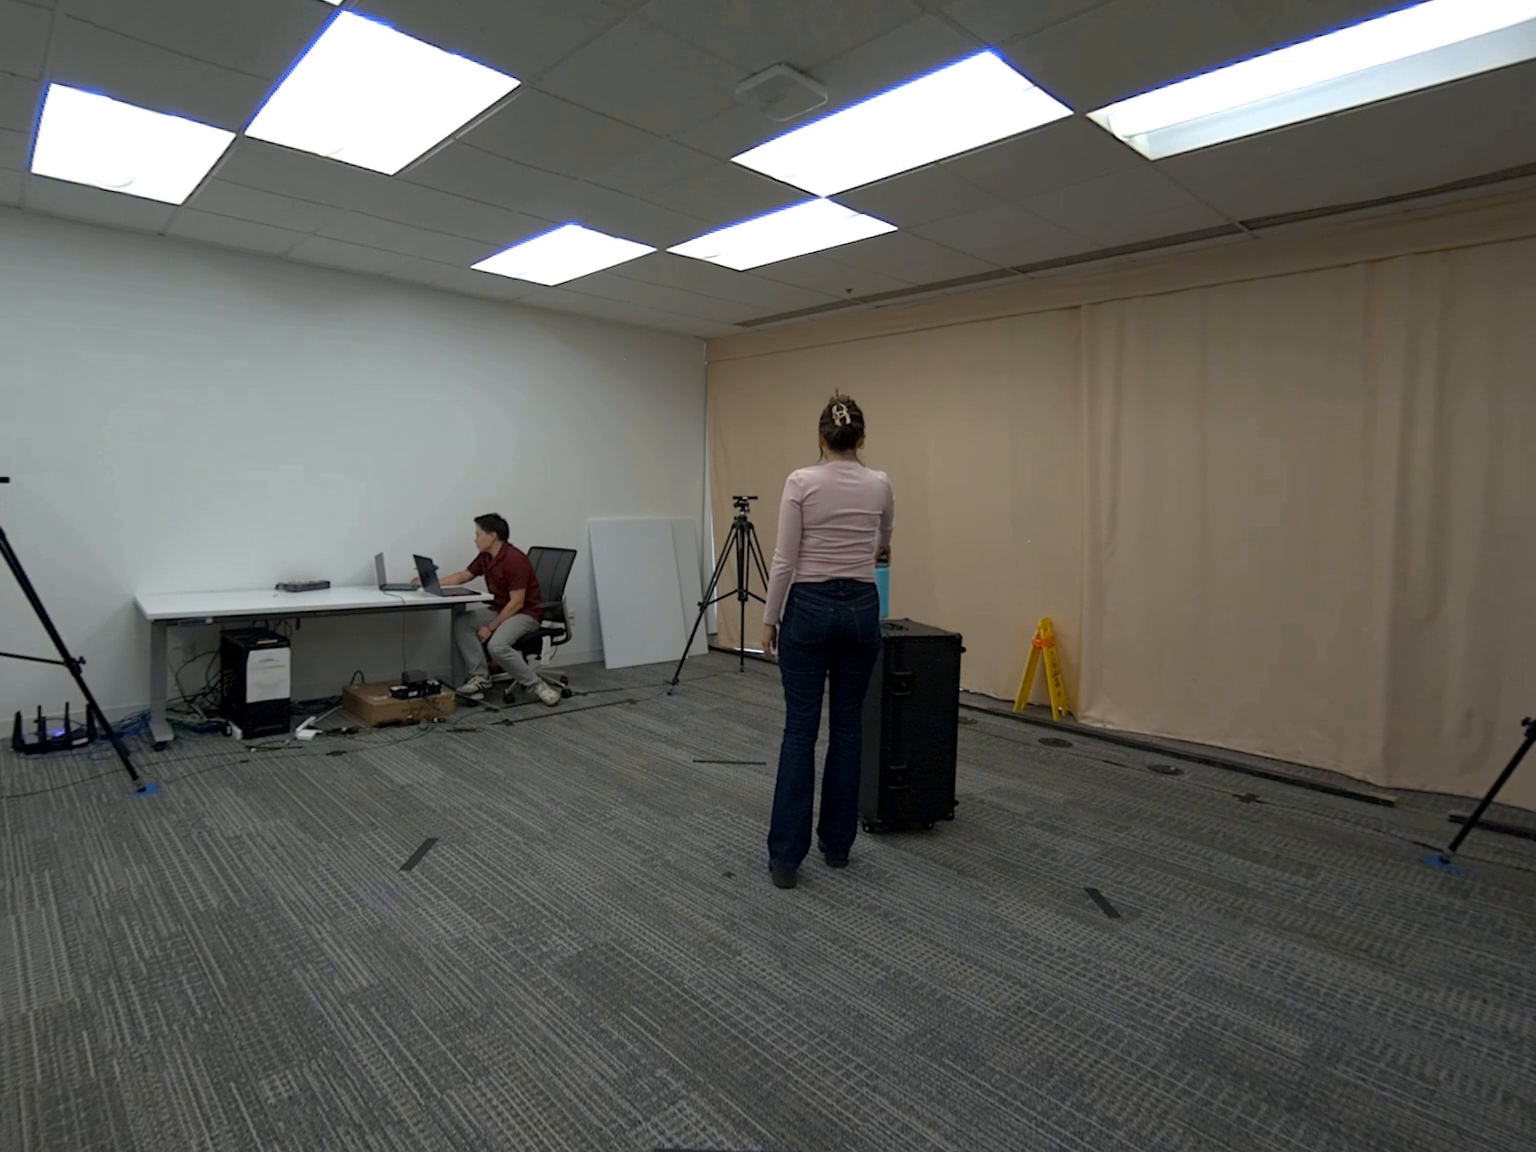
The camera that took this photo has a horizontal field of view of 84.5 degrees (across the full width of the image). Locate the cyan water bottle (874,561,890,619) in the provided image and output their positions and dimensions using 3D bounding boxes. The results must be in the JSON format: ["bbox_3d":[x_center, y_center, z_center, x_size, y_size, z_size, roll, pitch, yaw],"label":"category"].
[{"bbox_3d":[0.502,0.046,3.783,0.092,0.283,0.092,-1,3,-1],"label":"cyan water bottle"}]
